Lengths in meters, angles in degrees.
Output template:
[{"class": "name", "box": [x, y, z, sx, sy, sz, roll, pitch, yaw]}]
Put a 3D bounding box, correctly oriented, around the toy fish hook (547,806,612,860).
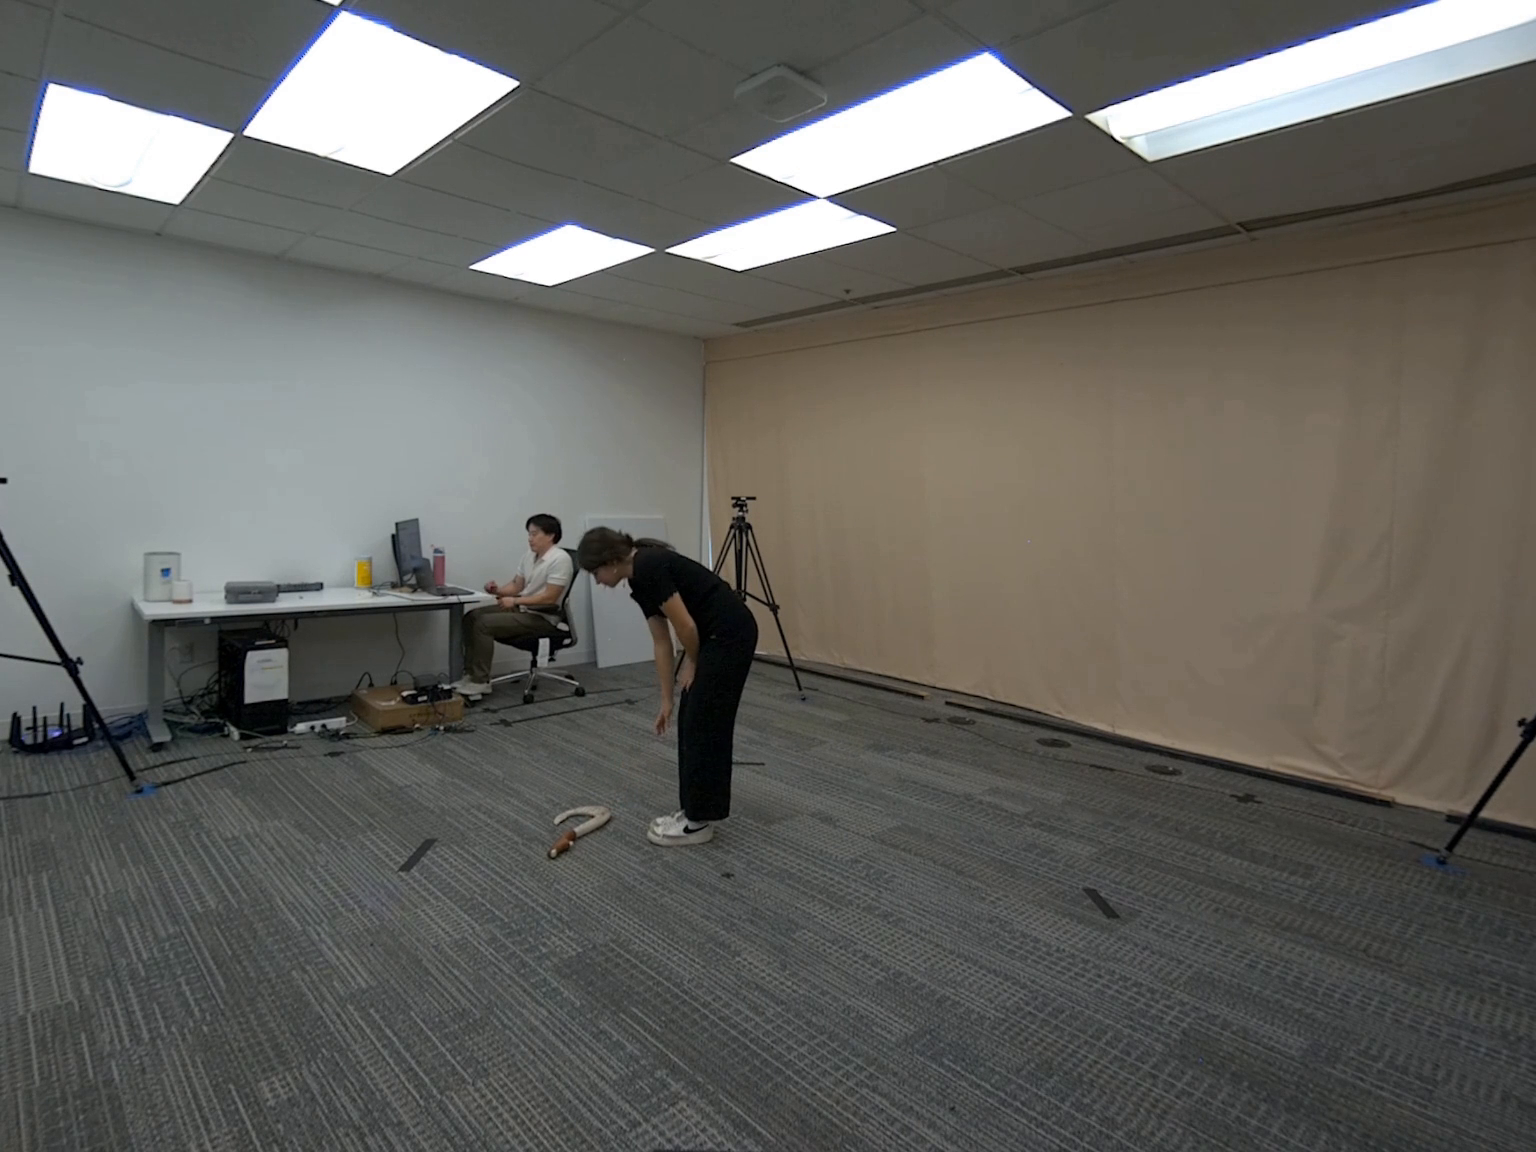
[{"class": "toy fish hook", "box": [-0.825, 1.042, 3.450, 0.227, 0.048, 0.501, -5, 3, 15]}]
